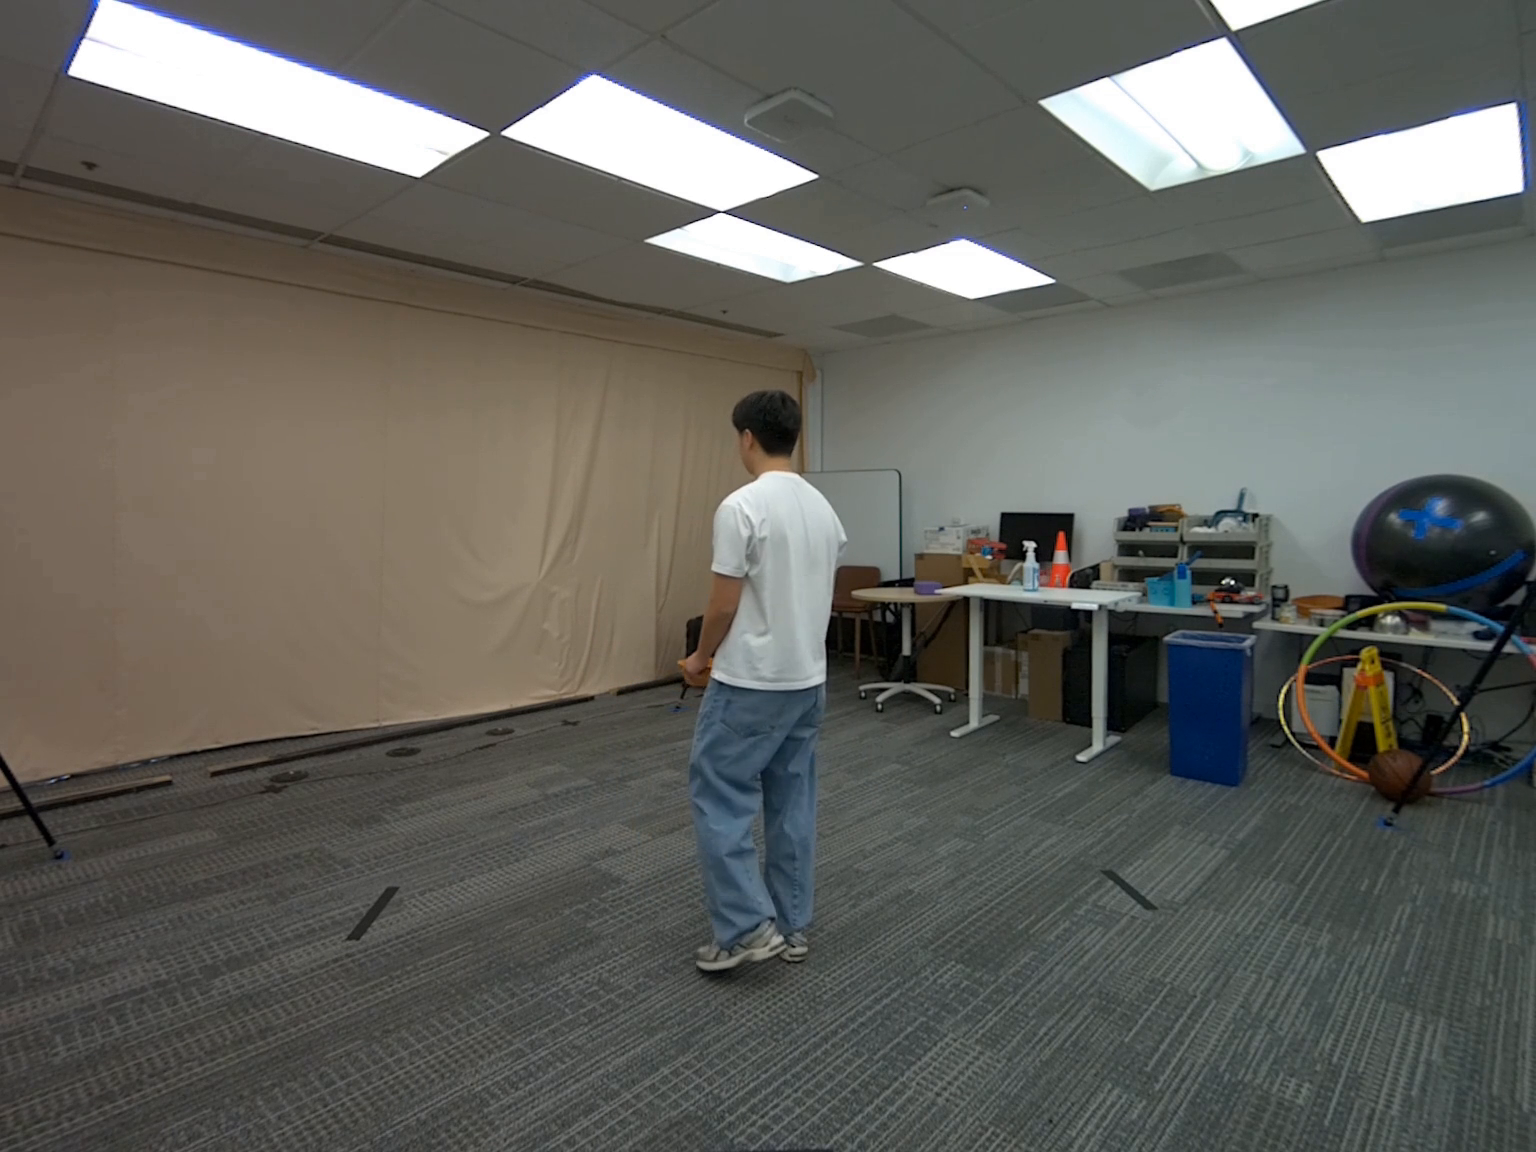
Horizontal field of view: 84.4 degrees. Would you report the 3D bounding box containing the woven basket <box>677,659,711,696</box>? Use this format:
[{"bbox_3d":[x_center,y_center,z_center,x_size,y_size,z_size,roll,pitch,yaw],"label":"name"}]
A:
[{"bbox_3d":[-0.145,0.333,2.871,0.339,0.073,0.260,2,0,-42],"label":"woven basket"}]
